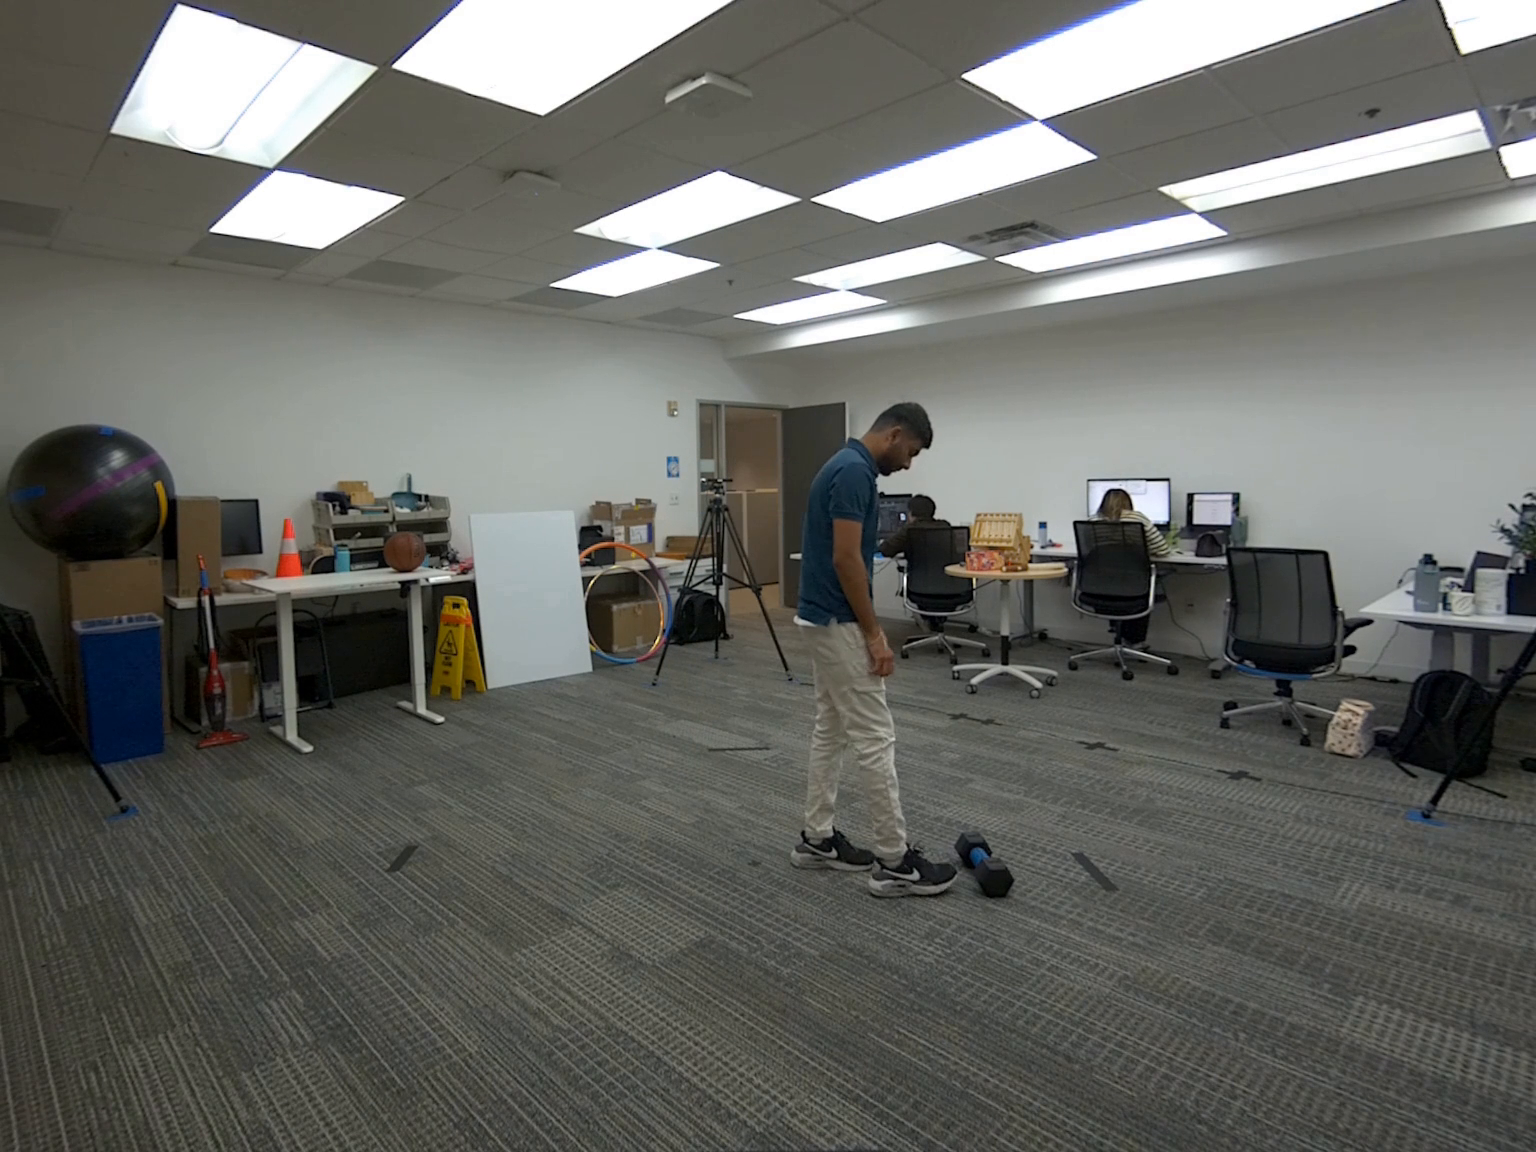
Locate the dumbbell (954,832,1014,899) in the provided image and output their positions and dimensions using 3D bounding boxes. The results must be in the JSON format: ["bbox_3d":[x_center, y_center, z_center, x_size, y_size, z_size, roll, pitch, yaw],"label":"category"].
[{"bbox_3d":[0.742,0.990,2.953,0.109,0.122,0.296,-31,7,-1],"label":"dumbbell"}]
